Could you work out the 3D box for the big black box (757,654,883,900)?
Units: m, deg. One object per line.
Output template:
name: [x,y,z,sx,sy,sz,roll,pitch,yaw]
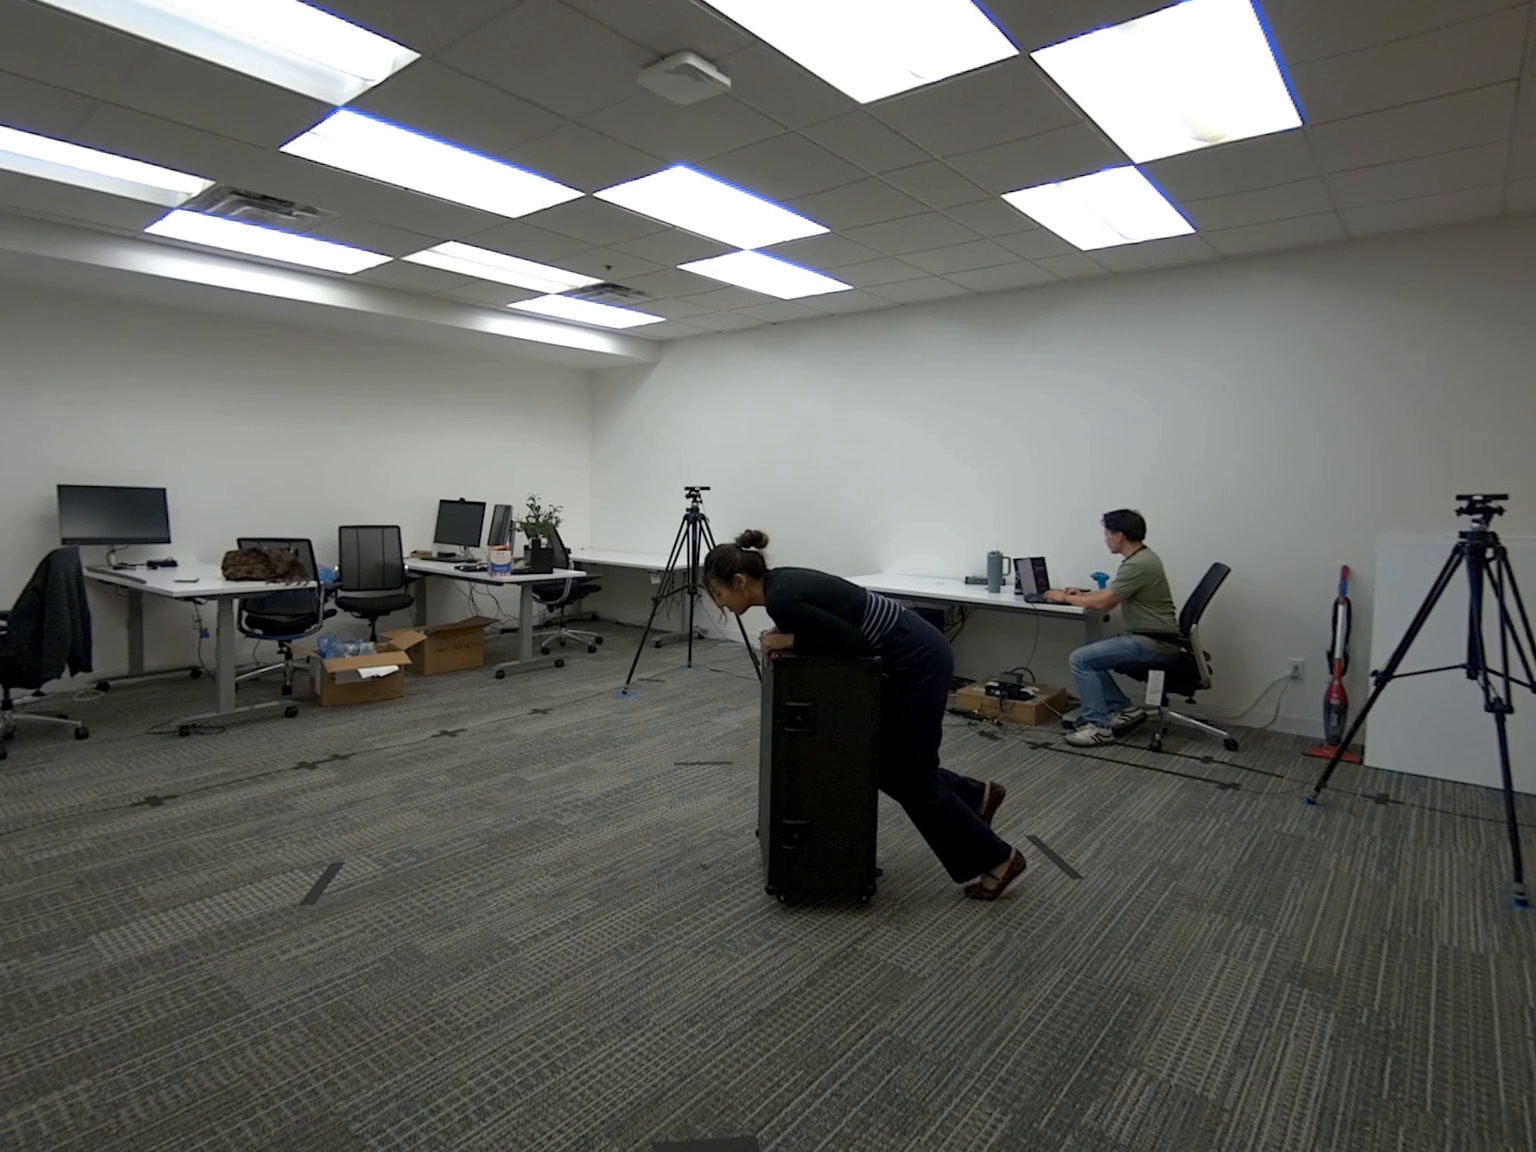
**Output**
big black box: [0.166,0.661,2.995,0.395,0.859,0.524,3,3,-4]
